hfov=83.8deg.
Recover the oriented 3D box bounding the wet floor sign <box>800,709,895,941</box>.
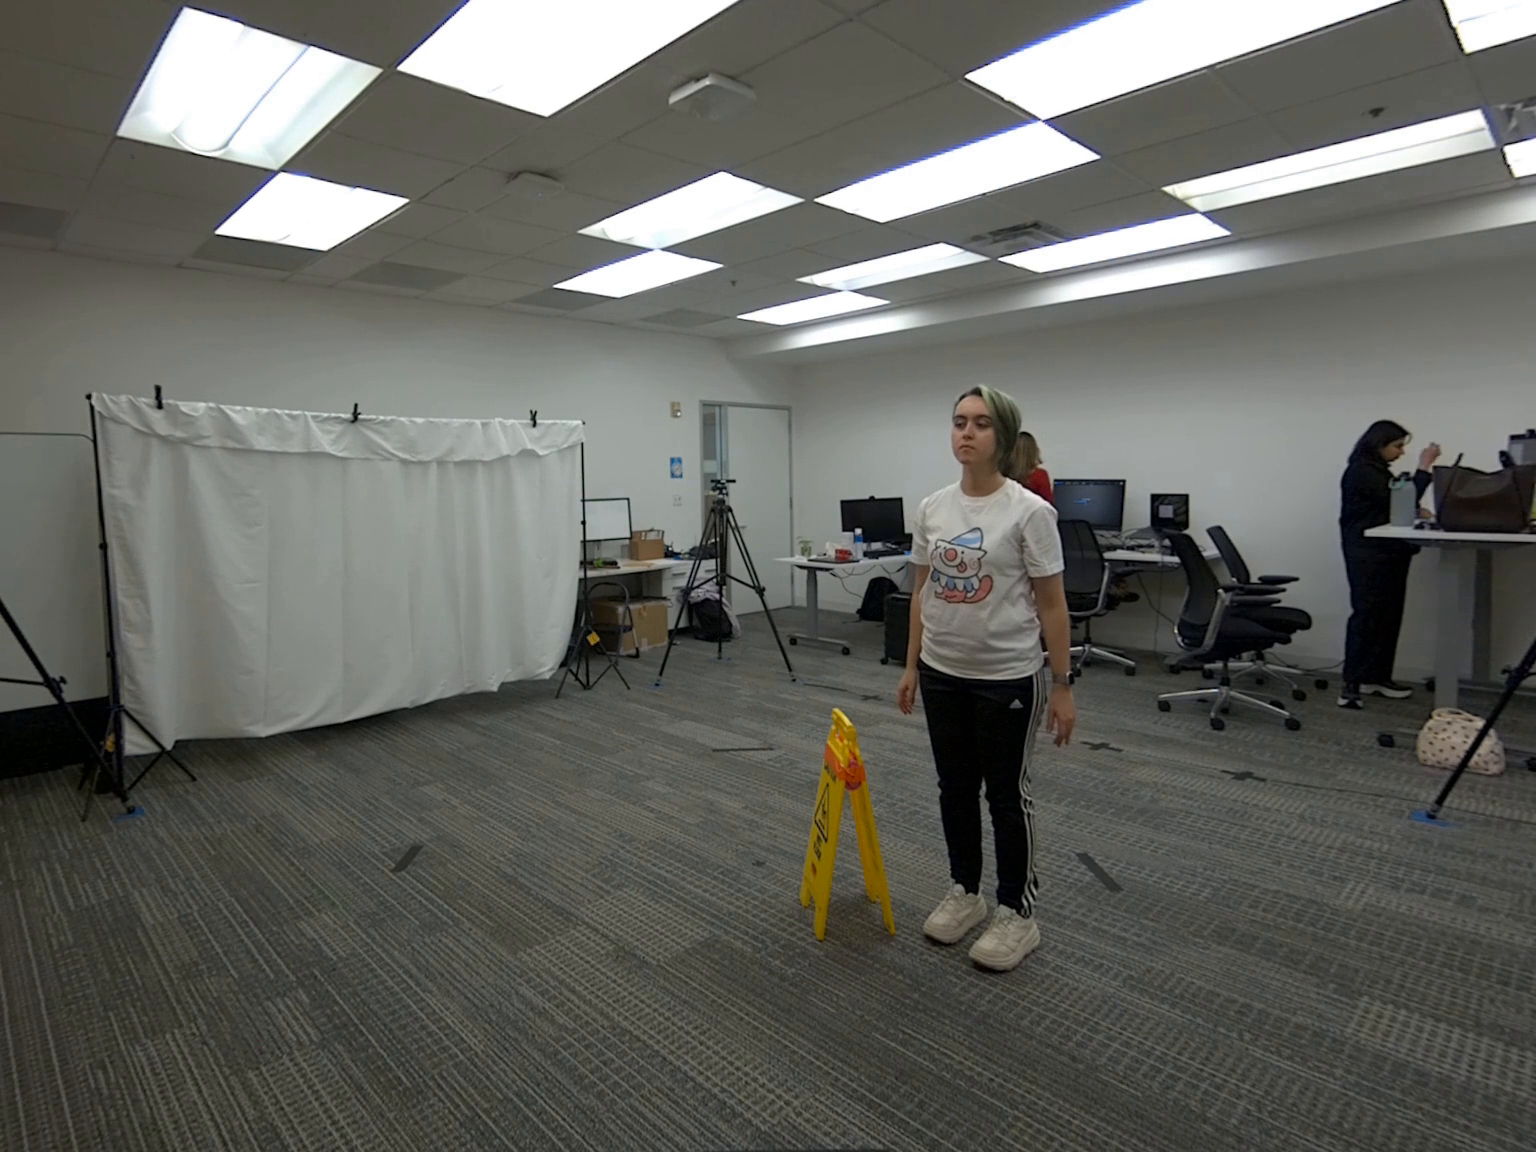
[{"bbox_3d":[0.244,0.766,2.700,0.288,0.643,0.285,-1,4,-6],"label":"wet floor sign"}]
